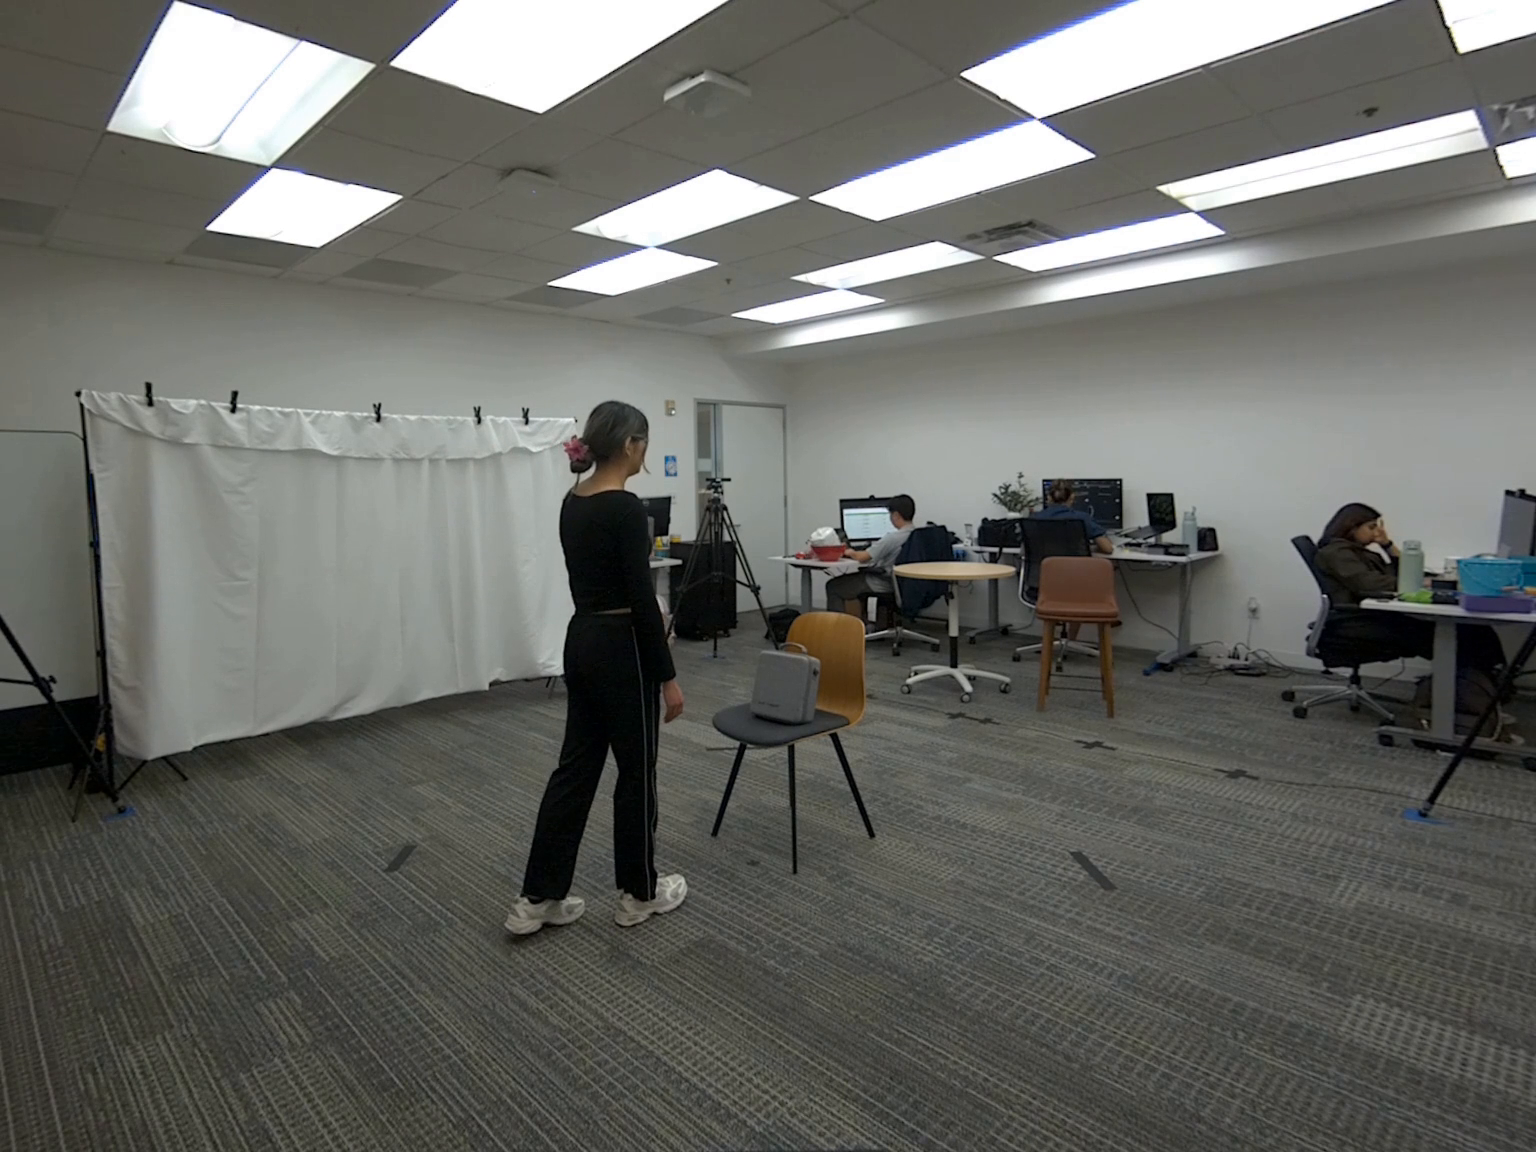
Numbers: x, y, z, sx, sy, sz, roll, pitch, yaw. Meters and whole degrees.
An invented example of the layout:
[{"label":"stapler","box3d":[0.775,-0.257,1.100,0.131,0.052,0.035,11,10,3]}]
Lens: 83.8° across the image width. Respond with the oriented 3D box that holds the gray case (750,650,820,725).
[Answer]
[{"label":"gray case","box3d":[0.073,0.412,3.248,0.265,0.262,0.101,4,-9,45]}]
